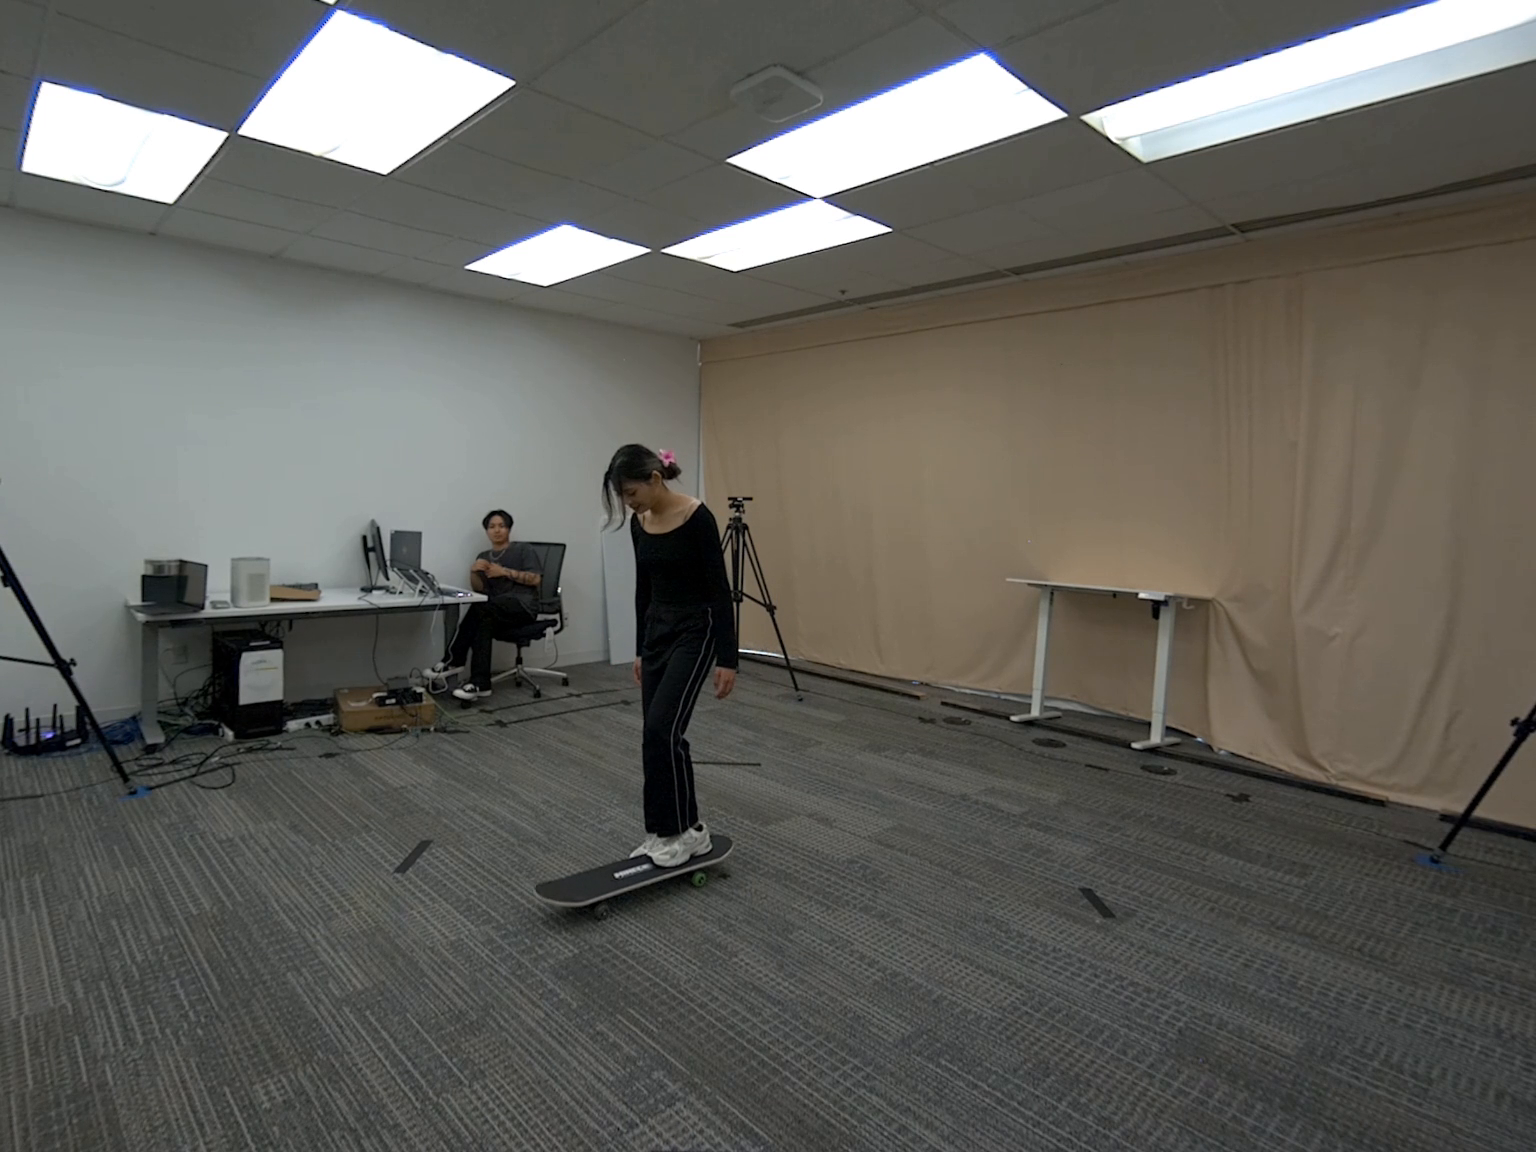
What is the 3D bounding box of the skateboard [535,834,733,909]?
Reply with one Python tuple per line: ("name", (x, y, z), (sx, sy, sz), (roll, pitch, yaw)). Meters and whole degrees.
("skateboard", (-0.454, 1.064, 2.942), (0.767, 0.110, 0.198), (-2, 6, -39))
